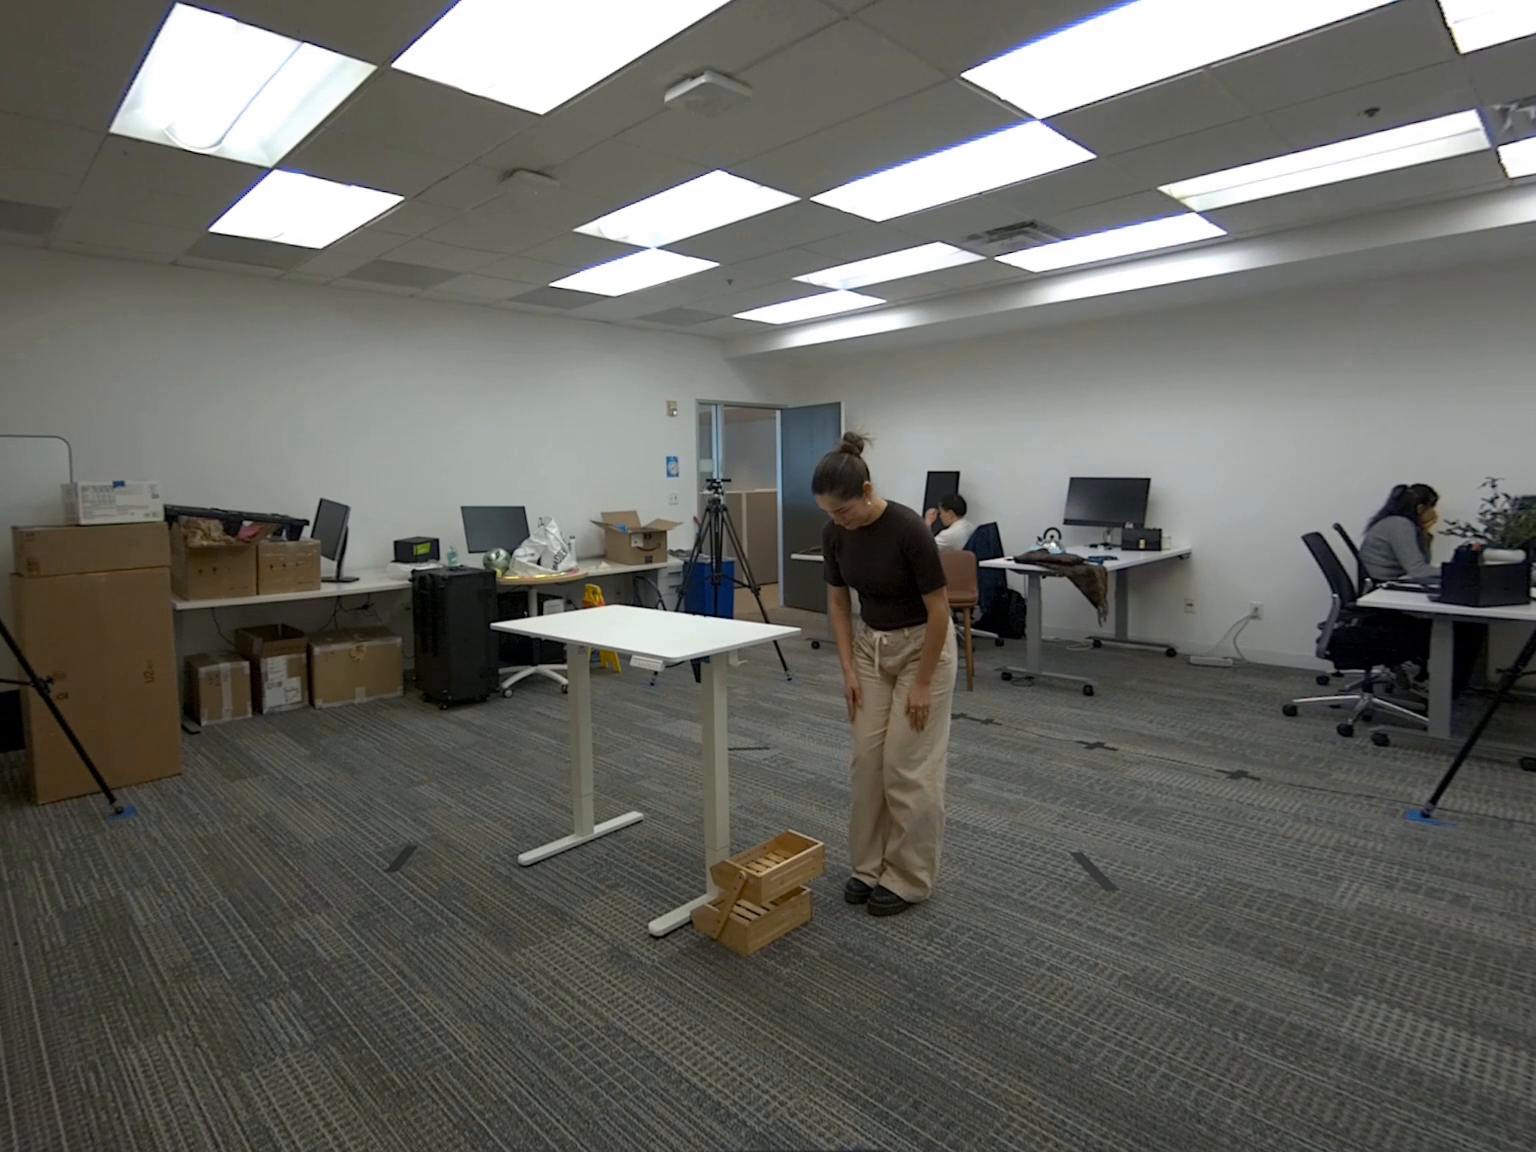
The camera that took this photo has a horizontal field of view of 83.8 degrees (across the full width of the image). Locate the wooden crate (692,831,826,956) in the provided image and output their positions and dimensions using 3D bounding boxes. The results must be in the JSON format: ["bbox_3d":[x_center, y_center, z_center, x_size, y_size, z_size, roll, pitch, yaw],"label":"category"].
[{"bbox_3d":[-0.031,0.963,2.666,0.311,0.272,0.316,5,8,43],"label":"wooden crate"}]
